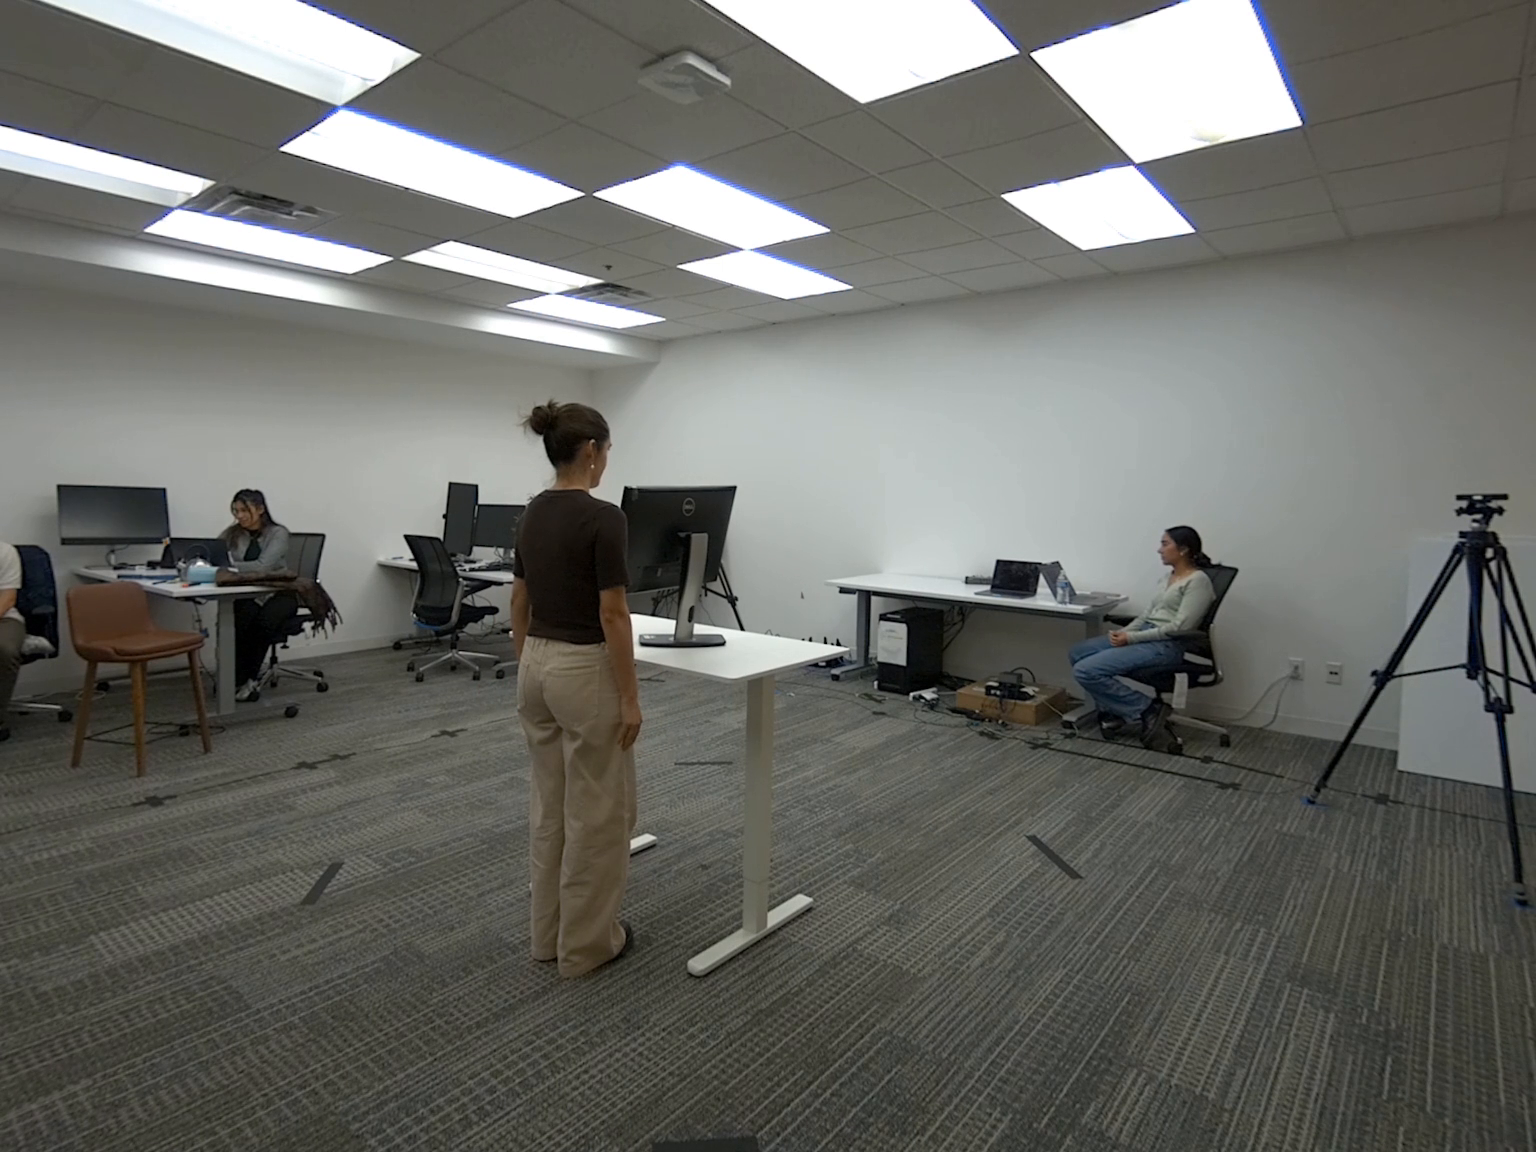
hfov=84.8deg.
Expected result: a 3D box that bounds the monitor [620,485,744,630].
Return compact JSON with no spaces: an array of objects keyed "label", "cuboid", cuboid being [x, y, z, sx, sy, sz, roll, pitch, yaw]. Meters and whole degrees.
[{"label":"monitor","cuboid":[-0.299,-0.034,2.747,0.193,0.520,0.525,2,6,33]}]
